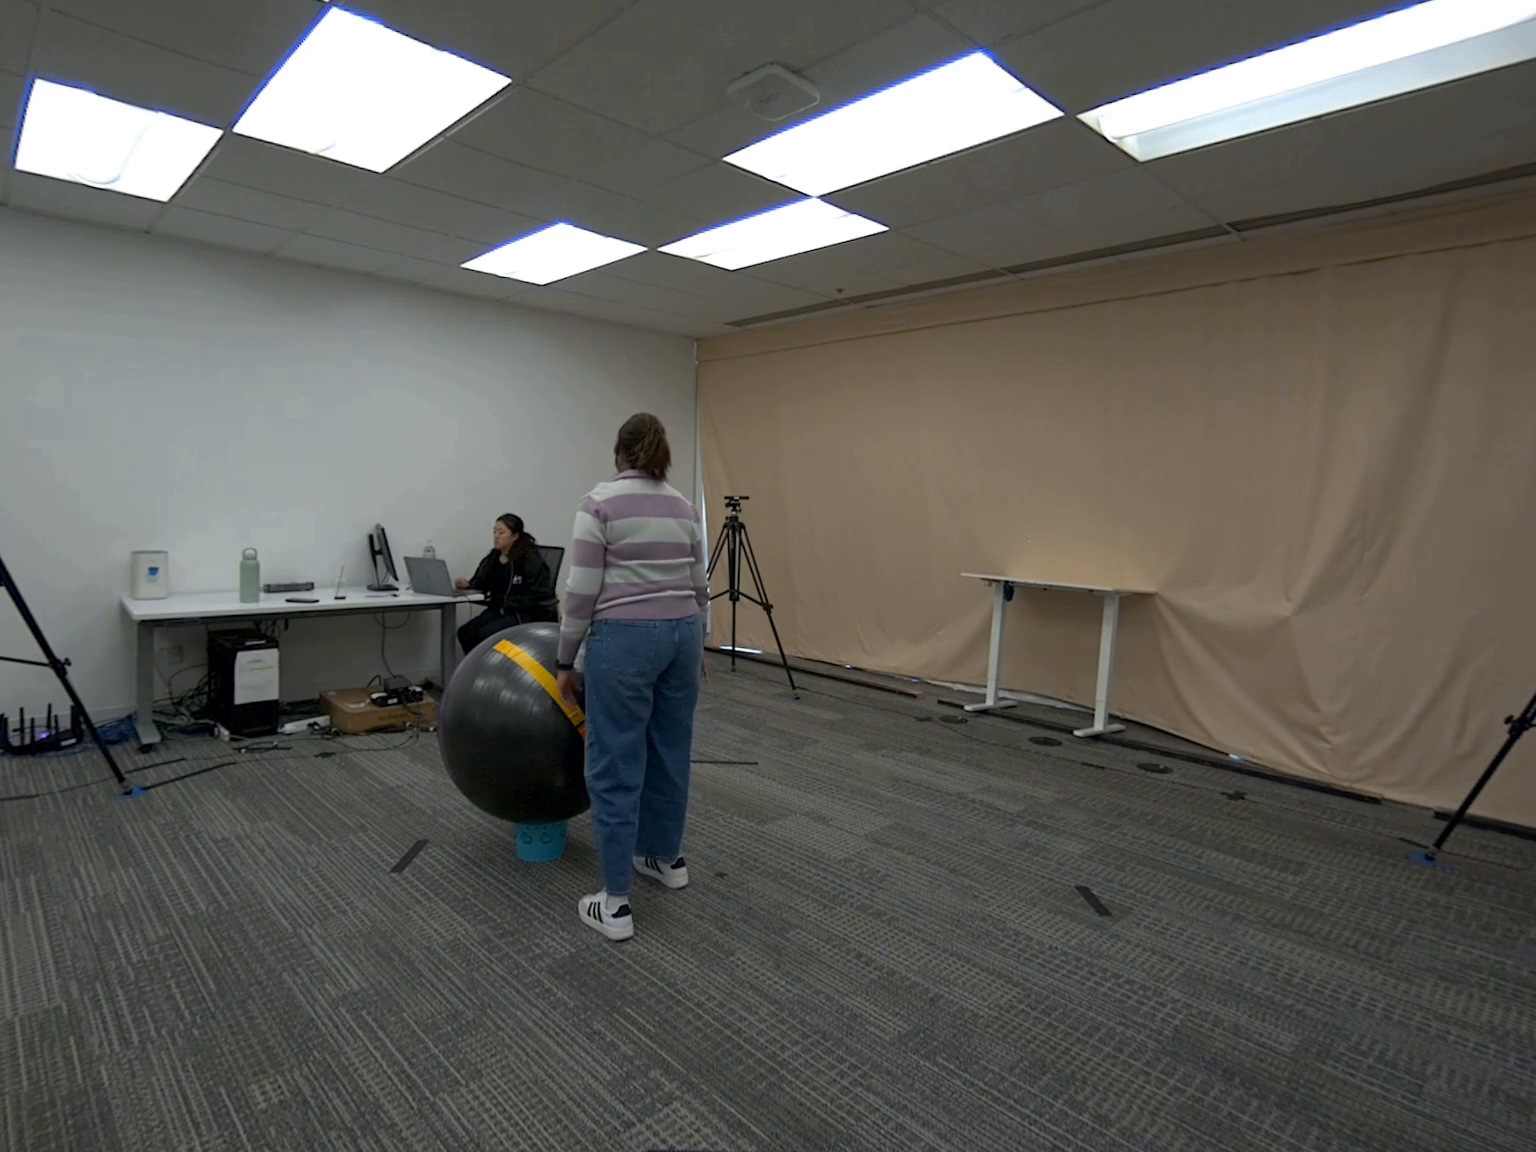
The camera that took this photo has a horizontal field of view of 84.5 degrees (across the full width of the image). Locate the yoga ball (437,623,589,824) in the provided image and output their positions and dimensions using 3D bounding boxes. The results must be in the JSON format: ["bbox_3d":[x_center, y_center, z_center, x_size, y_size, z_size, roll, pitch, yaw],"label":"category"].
[{"bbox_3d":[-0.892,0.567,3.252,0.757,0.756,0.761,1,4,-1],"label":"yoga ball"}]
